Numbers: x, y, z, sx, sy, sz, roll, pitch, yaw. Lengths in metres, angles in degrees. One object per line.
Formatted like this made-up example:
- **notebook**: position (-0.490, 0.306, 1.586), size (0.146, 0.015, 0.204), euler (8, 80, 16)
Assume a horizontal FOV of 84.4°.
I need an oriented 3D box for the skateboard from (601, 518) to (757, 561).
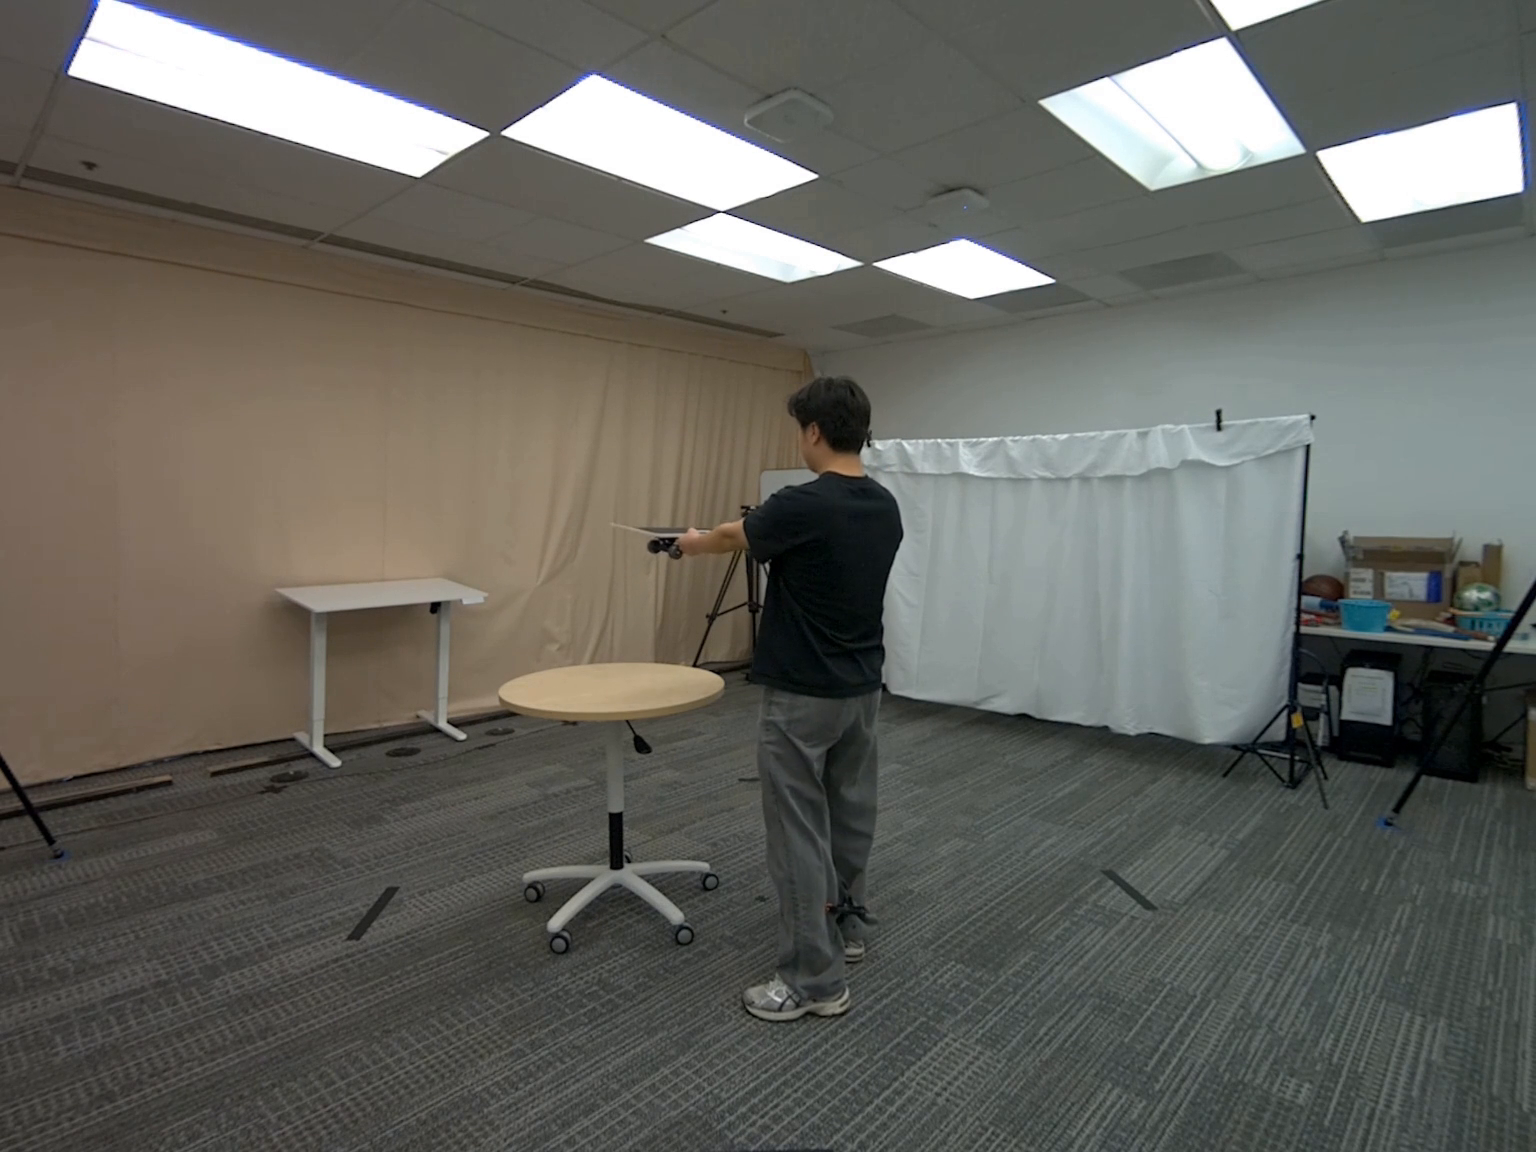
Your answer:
- **skateboard**: position (-0.178, -0.125, 2.958), size (0.763, 0.110, 0.200), euler (0, 8, -33)
